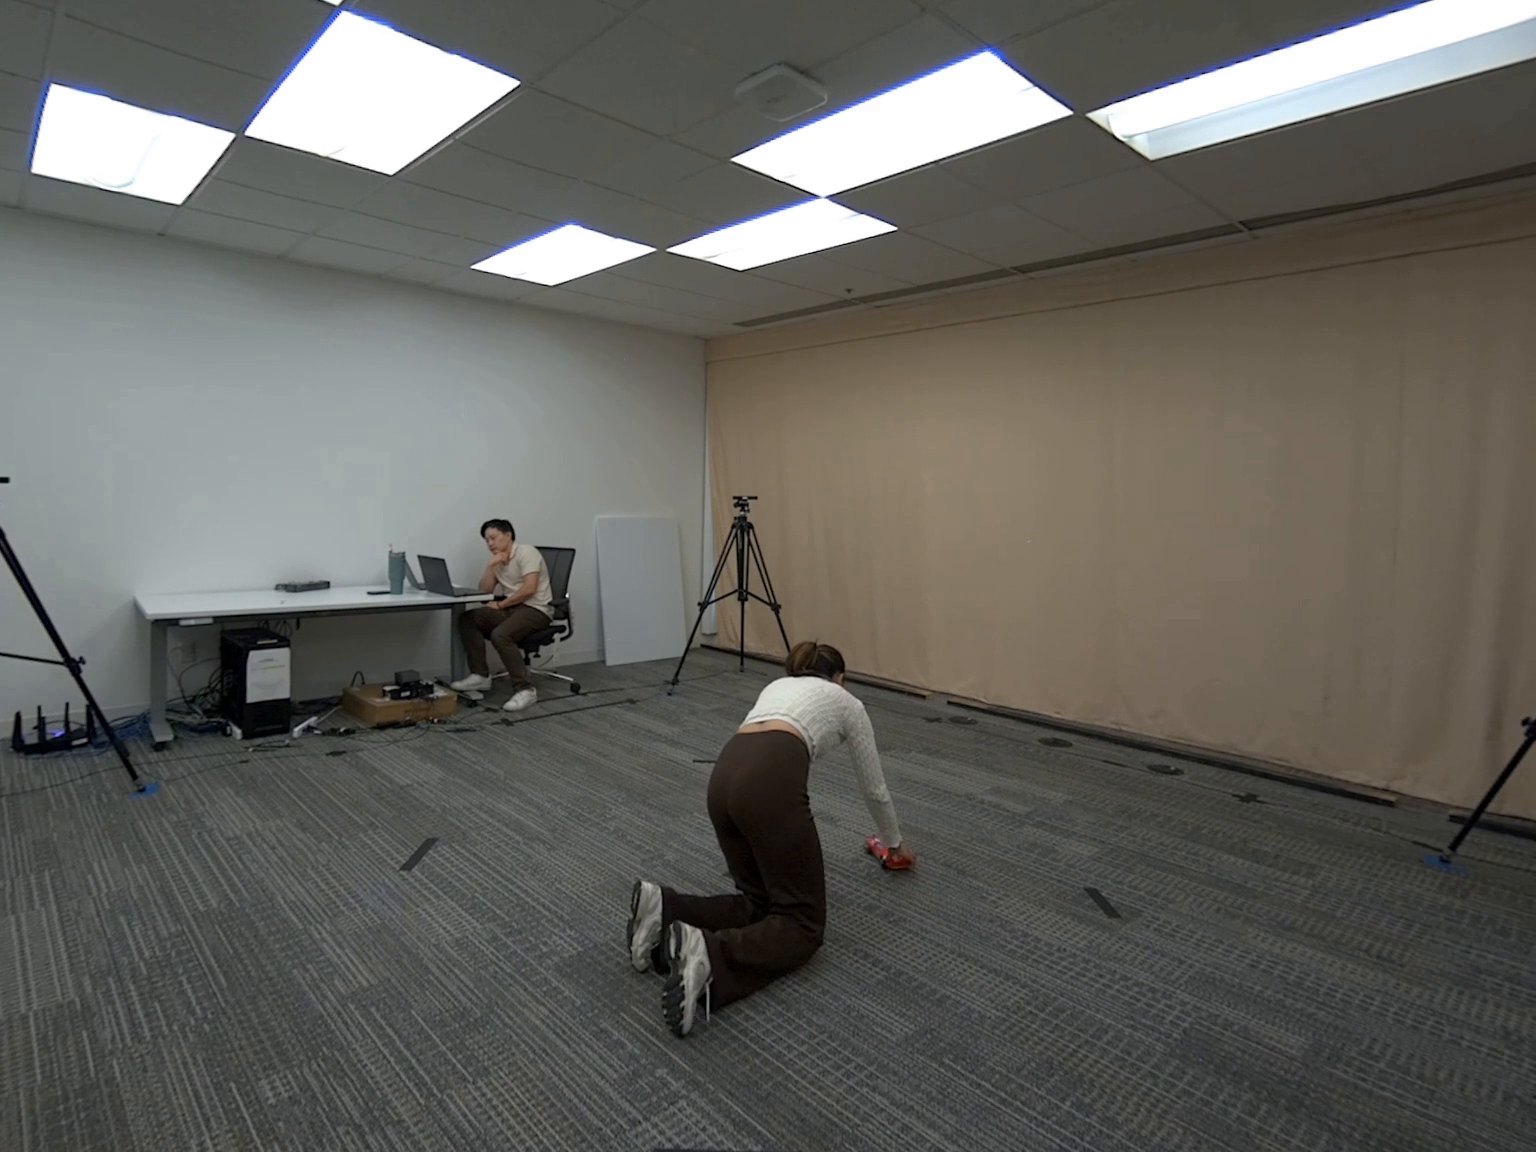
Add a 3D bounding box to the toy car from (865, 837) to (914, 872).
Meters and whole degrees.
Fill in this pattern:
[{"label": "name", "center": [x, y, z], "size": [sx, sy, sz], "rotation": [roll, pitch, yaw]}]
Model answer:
[{"label": "toy car", "center": [0.464, 1.075, 3.250], "size": [0.129, 0.083, 0.256], "rotation": [2, -5, -16]}]
